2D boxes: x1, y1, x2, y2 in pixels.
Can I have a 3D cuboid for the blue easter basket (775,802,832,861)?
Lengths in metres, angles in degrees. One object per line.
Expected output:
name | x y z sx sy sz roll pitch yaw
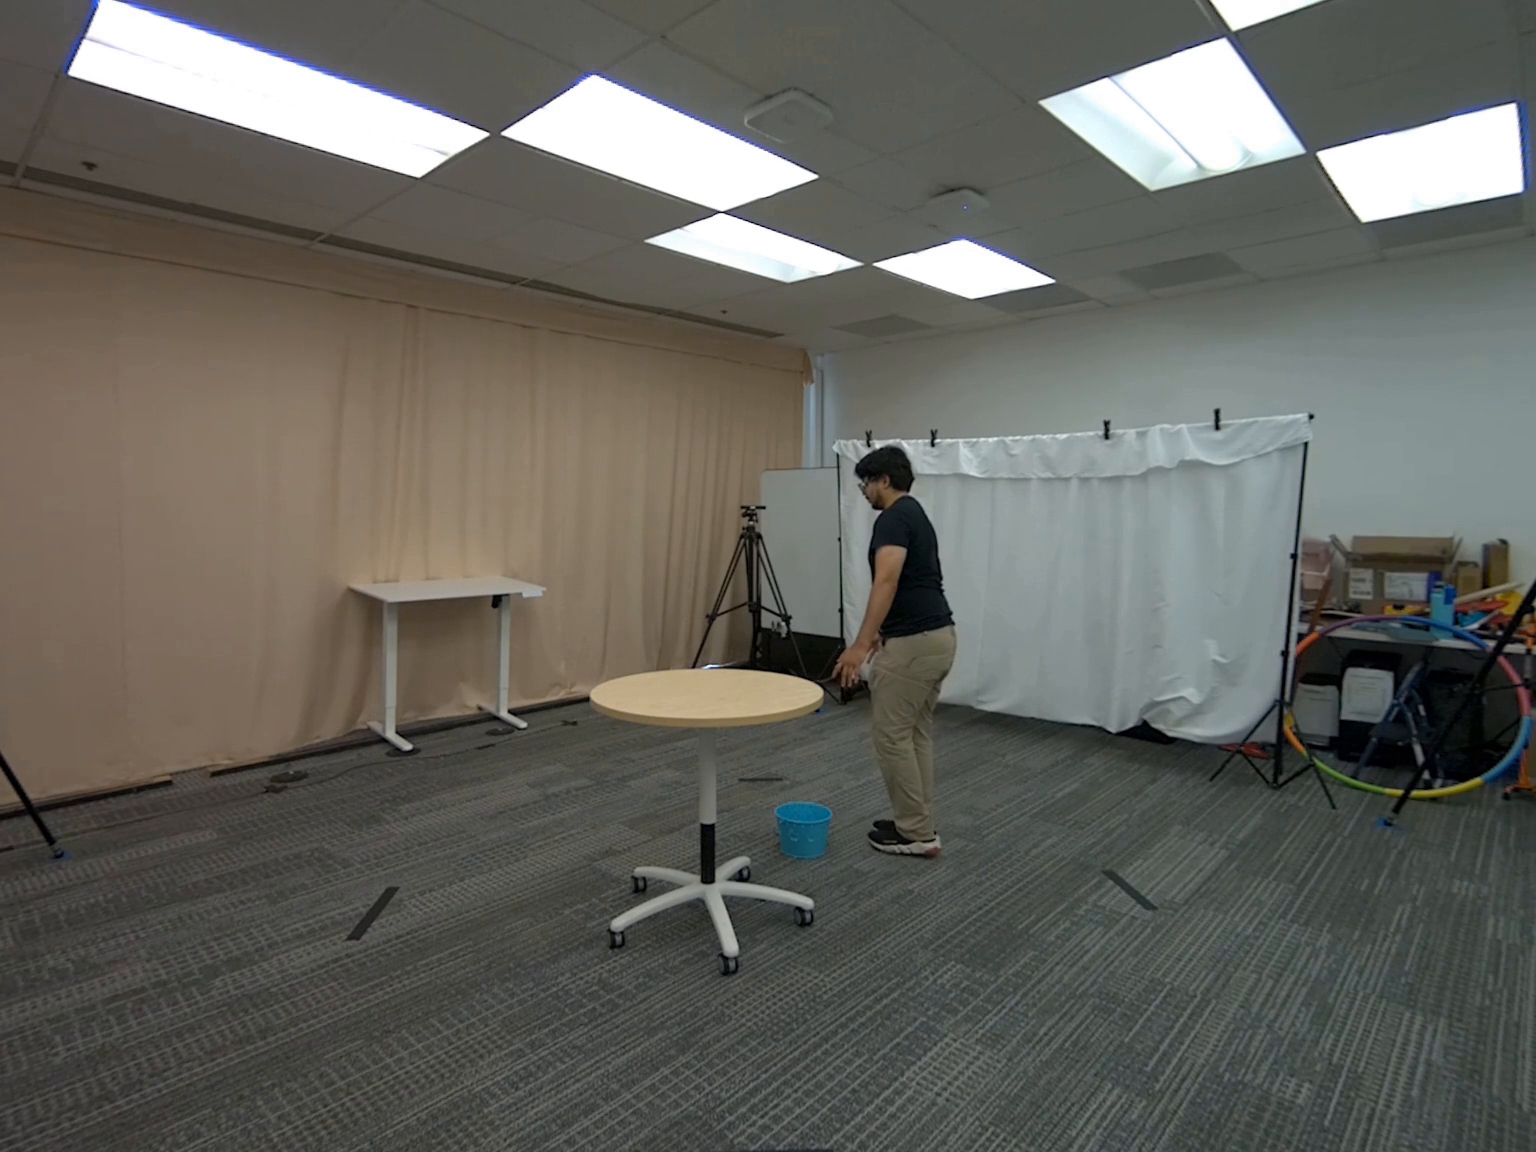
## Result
blue easter basket | 0.146 1.029 3.416 0.243 0.155 0.244 0 4 -2
